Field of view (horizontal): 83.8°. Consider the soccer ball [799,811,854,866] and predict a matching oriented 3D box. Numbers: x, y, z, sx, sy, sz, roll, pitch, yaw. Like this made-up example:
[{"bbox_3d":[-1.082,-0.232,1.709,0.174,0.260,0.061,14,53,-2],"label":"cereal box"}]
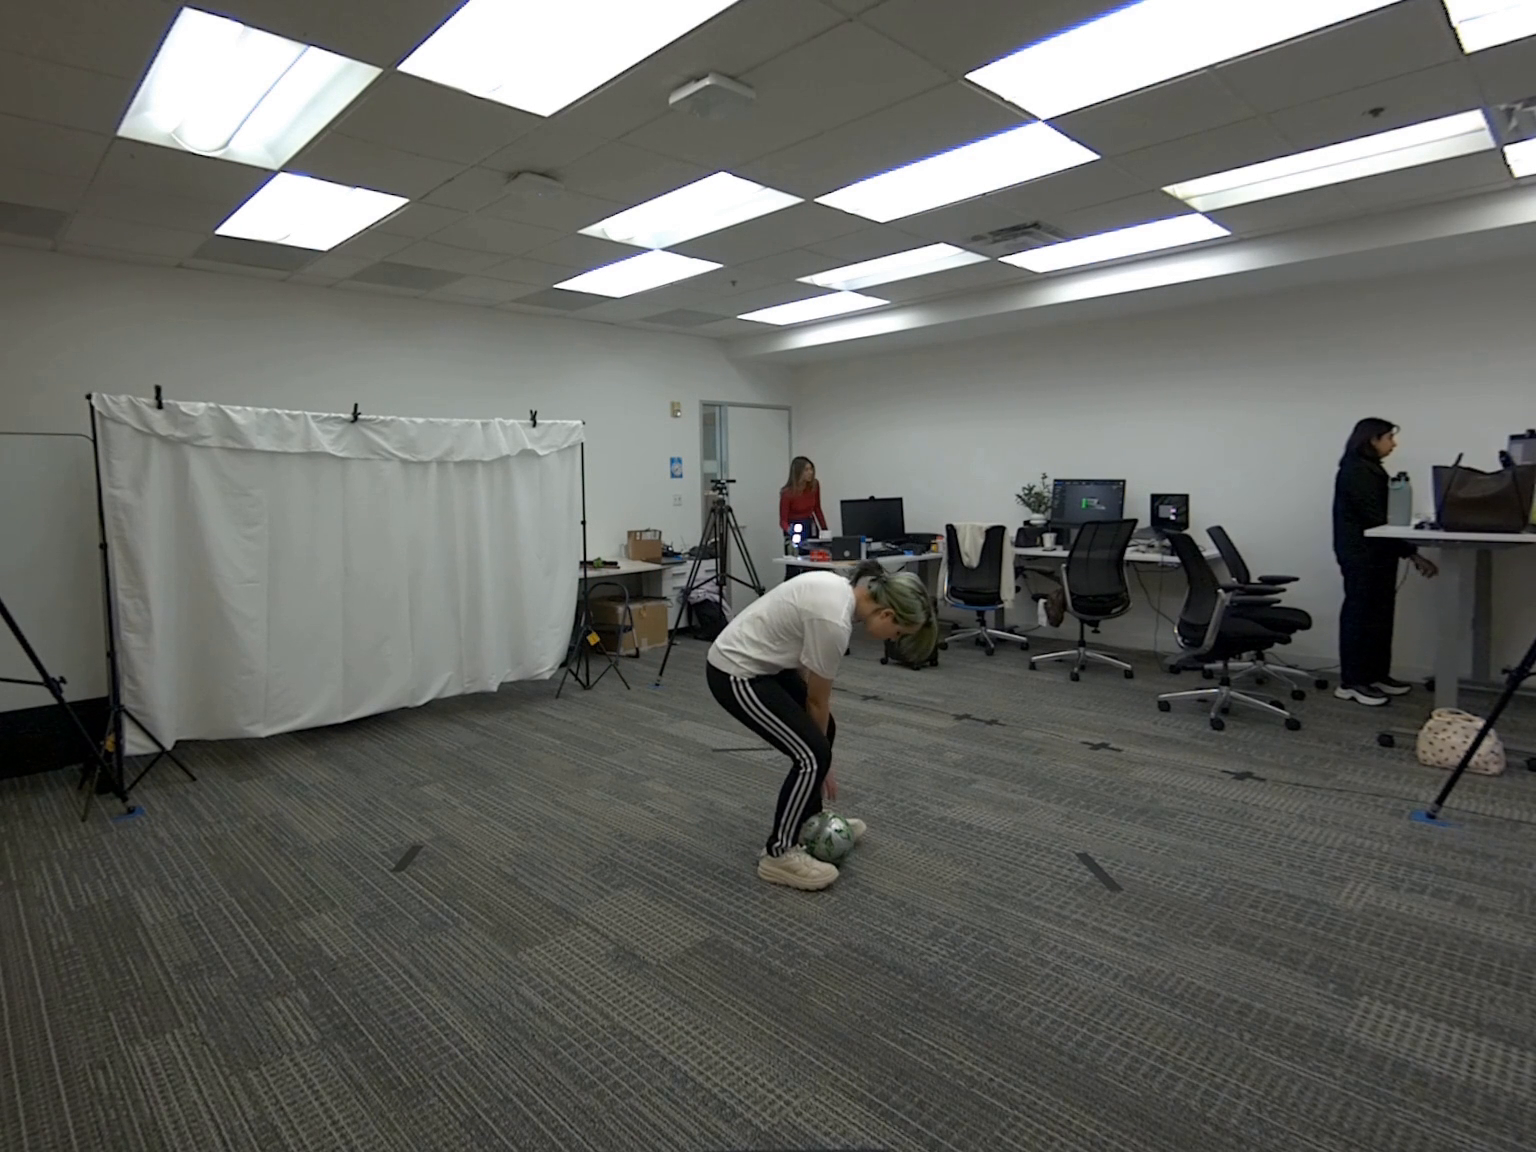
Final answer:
[{"bbox_3d":[0.219,0.956,3.098,0.187,0.187,0.188,-1,5,-2],"label":"soccer ball"}]
